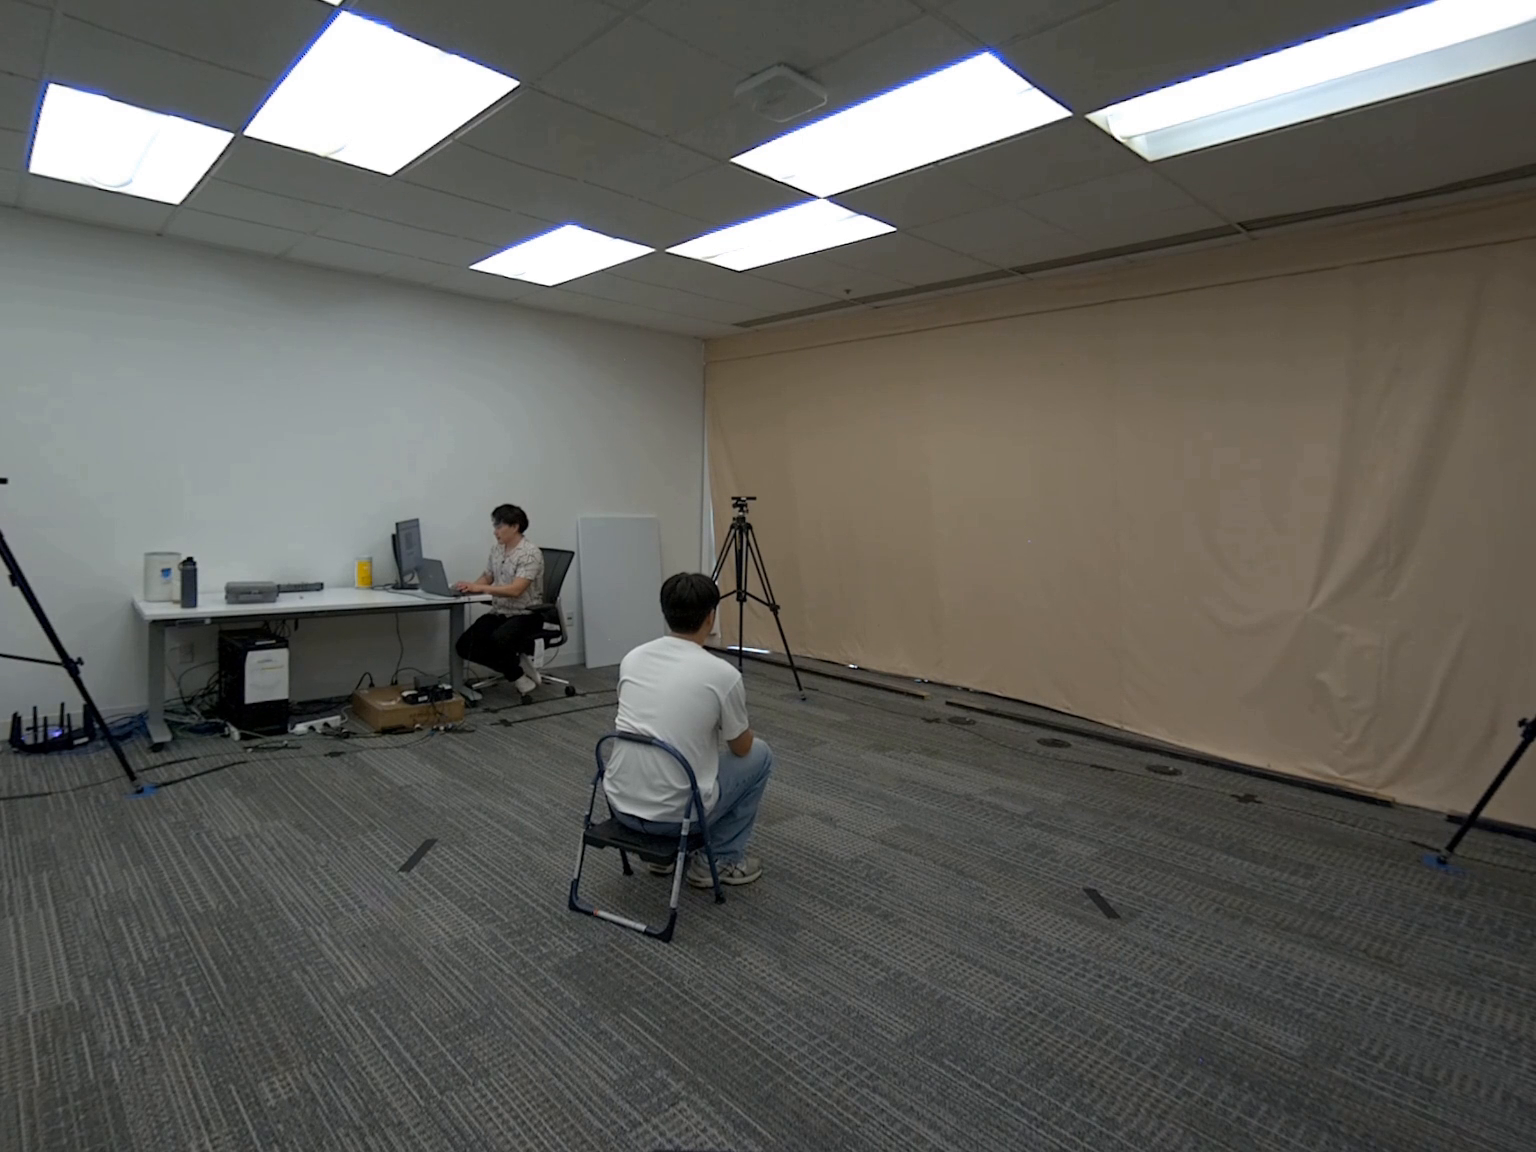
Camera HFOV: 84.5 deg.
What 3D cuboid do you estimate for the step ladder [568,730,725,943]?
[{"bbox_3d":[-0.418,0.825,2.848,0.440,0.604,0.343,3,4,29],"label":"step ladder"}]
